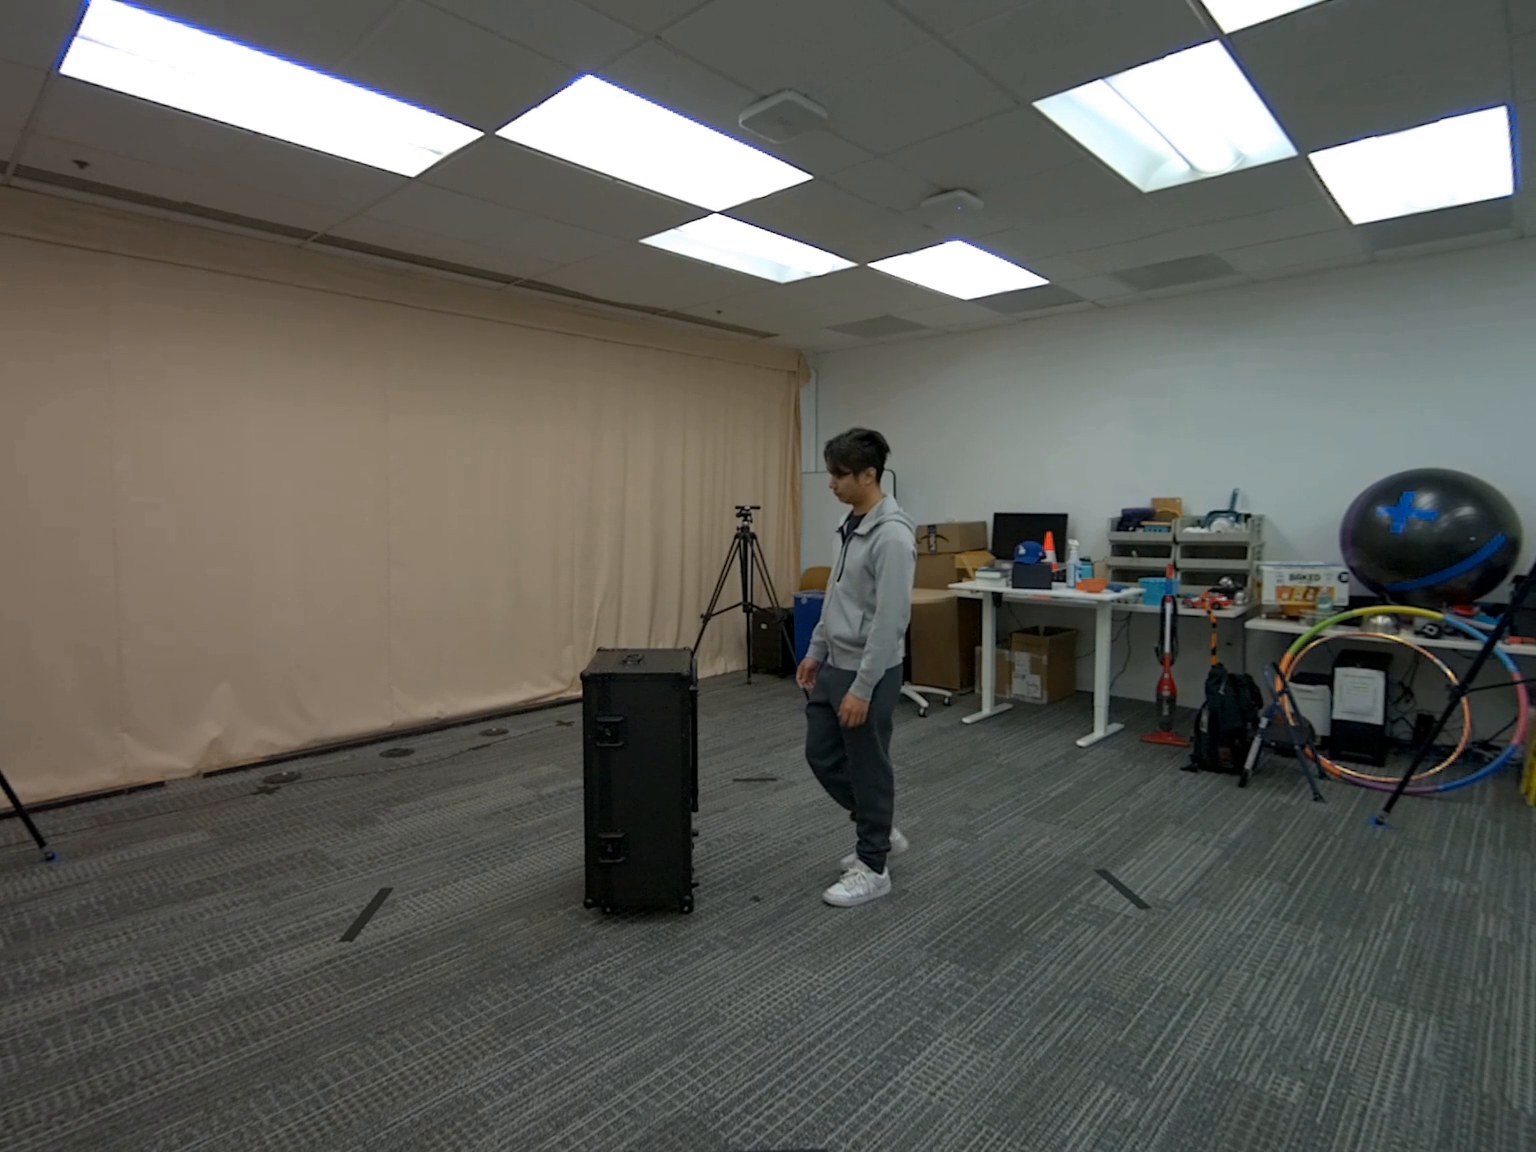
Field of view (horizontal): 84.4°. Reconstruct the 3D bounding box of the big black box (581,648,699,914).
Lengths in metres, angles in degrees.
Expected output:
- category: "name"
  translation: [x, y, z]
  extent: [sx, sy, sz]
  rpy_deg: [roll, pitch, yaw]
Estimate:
- category: "big black box"
  translation: [-0.441, 0.728, 3.009]
  extent: [0.395, 0.860, 0.523]
  rpy_deg: [0, 2, -4]
